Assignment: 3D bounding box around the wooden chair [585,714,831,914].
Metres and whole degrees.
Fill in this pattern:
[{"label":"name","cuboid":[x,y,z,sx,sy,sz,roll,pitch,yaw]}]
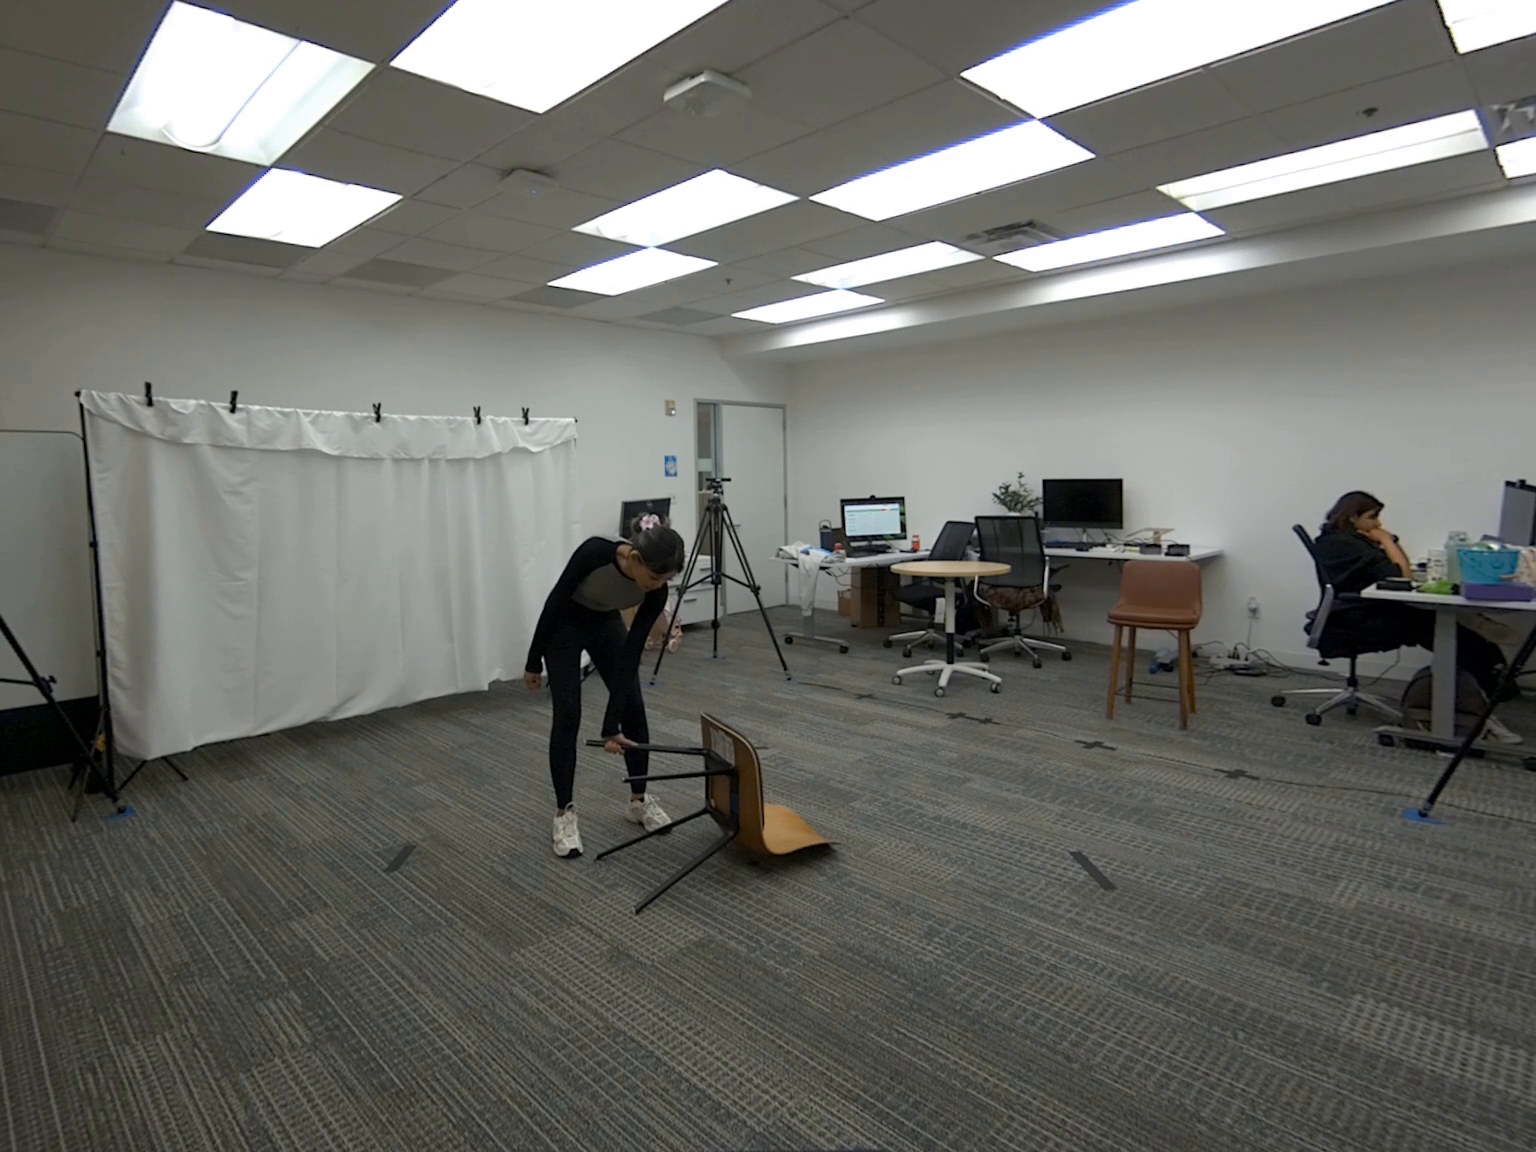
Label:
[{"label":"wooden chair","cuboid":[-0.175,0.781,3.109,0.859,0.521,0.490,-3,5,-25]}]
